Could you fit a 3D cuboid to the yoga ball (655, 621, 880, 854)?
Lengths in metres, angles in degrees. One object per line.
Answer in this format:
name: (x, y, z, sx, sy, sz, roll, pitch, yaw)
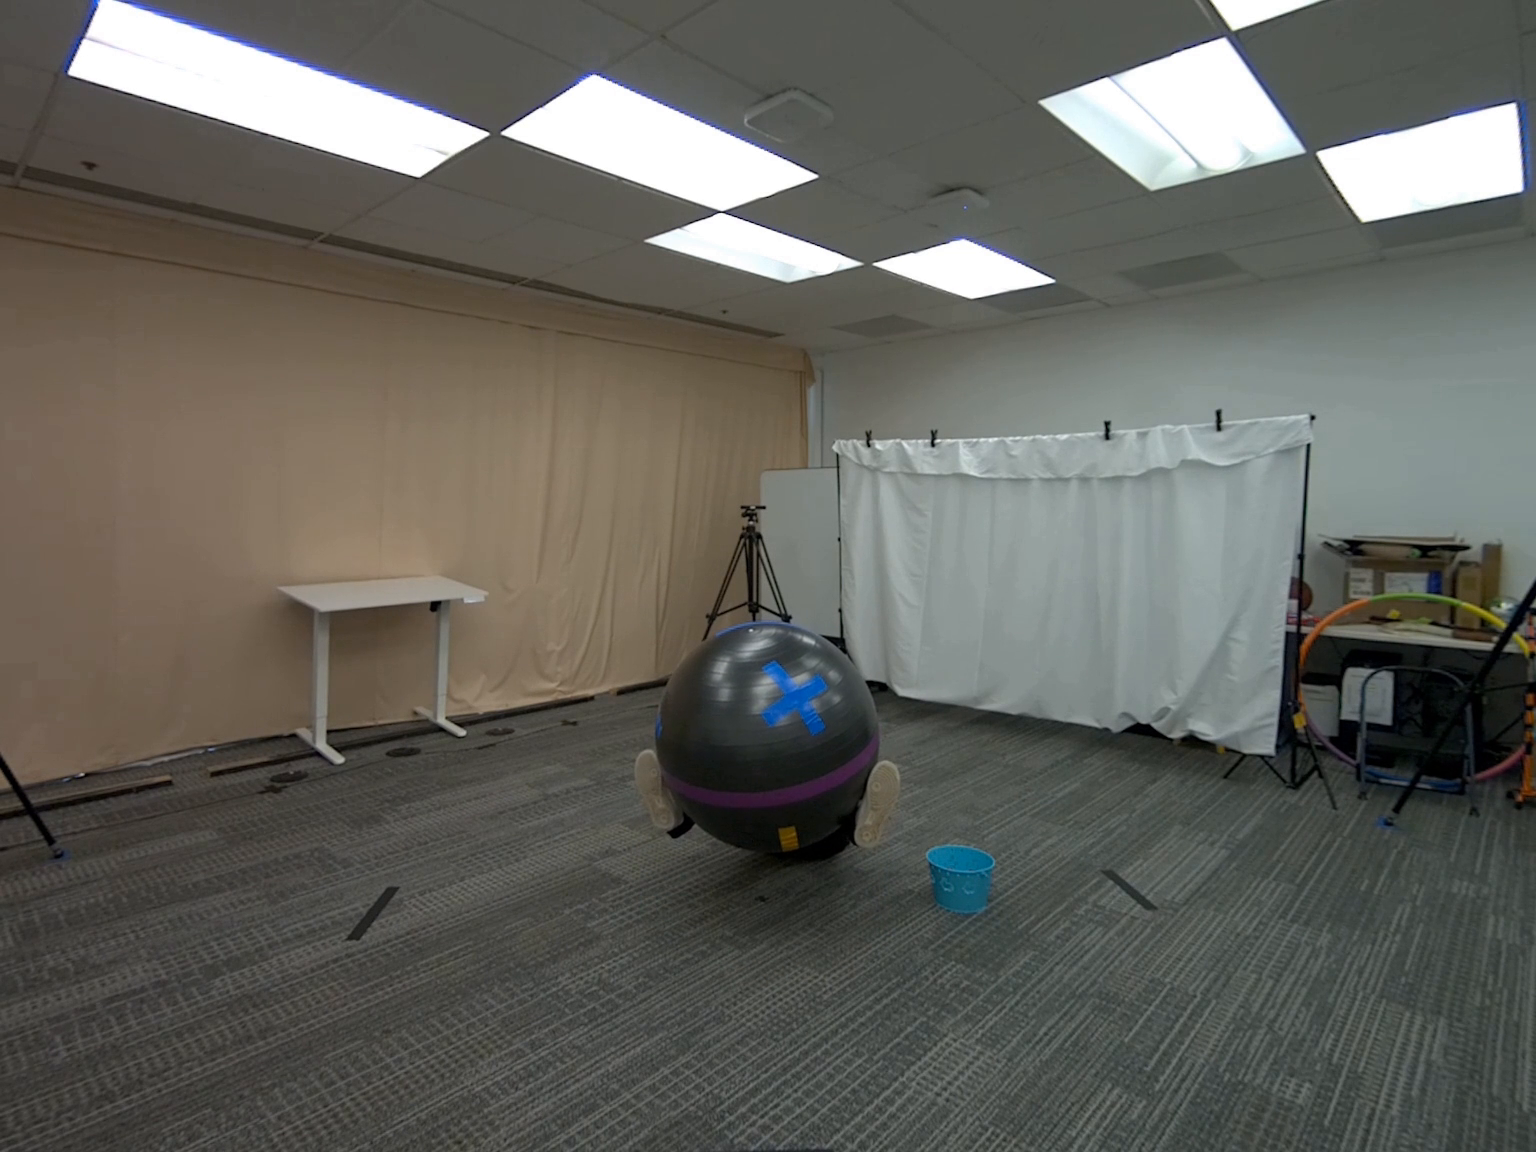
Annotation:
yoga ball: (0.001, 0.541, 2.865, 0.757, 0.756, 0.760, 0, 4, -2)
